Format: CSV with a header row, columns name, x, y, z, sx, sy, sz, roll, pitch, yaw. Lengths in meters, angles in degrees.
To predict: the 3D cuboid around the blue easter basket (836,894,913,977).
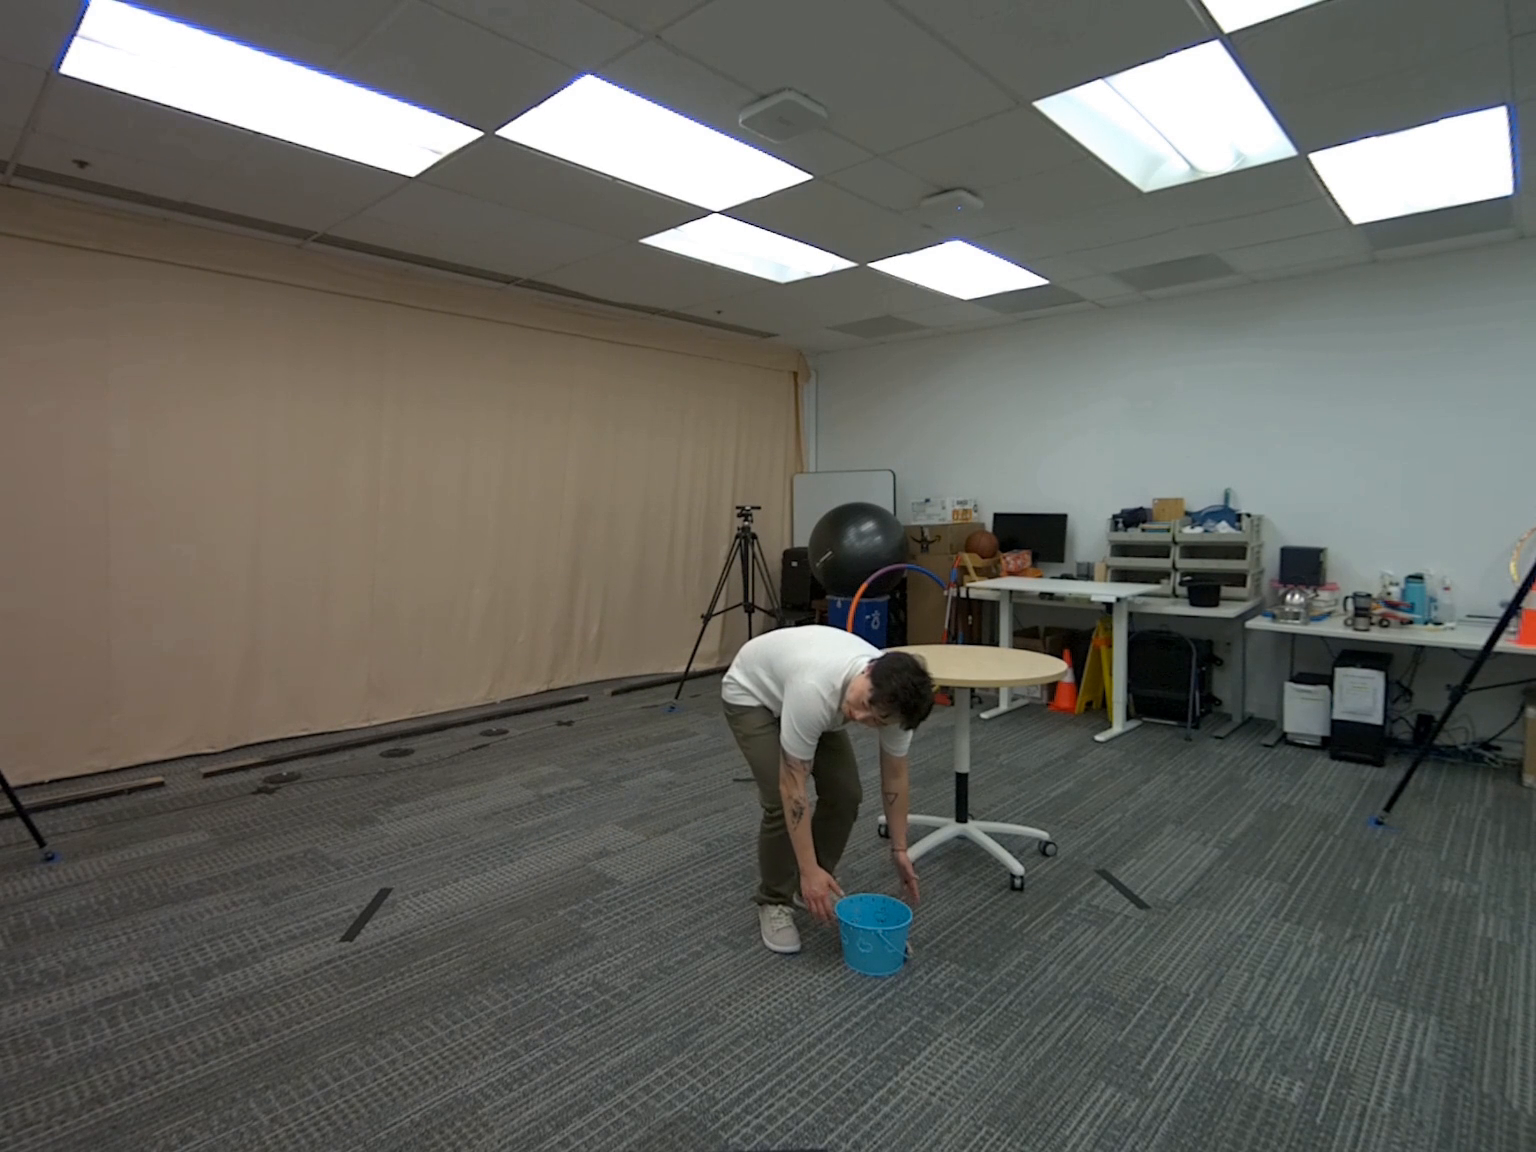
name,x,y,z,sx,sy,sz,roll,pitch,yaw
blue easter basket,0.331,1.097,2.579,0.243,0.155,0.244,-2,5,-2
